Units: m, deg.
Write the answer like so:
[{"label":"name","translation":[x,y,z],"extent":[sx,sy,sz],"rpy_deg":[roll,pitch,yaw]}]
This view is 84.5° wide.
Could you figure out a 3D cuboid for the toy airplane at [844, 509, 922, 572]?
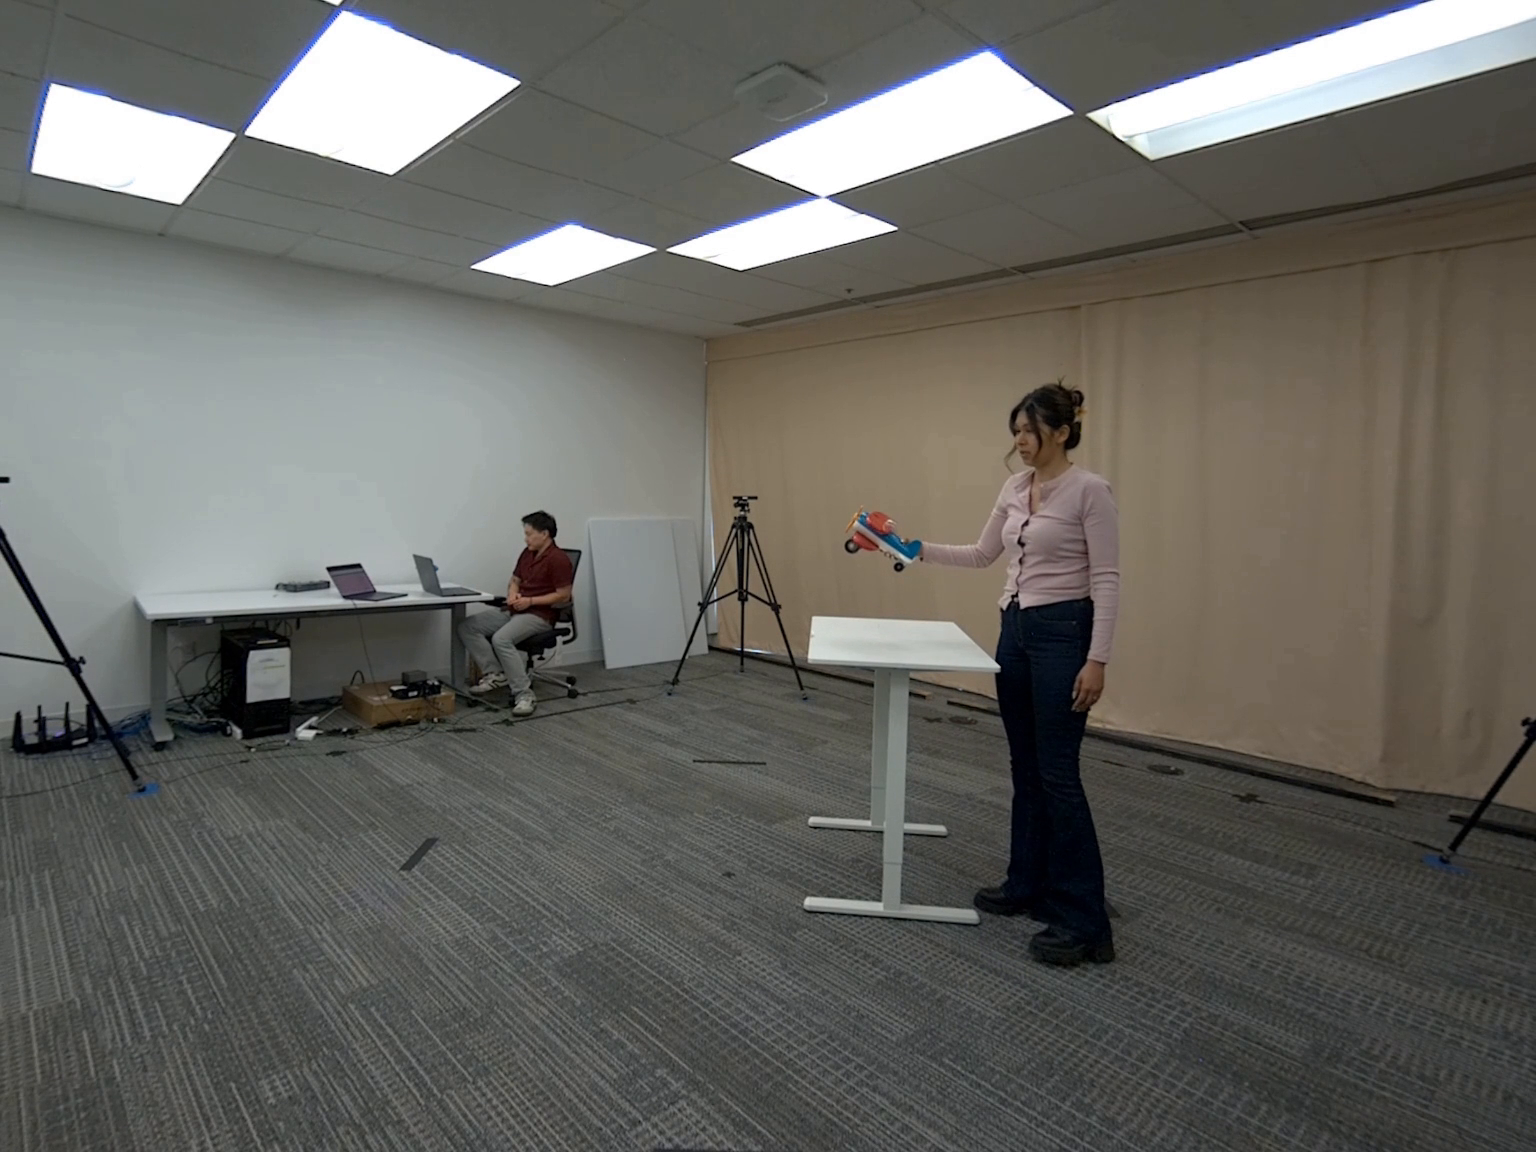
[{"label":"toy airplane","translation":[0.405,-0.127,2.999],"extent":[0.256,0.155,0.256],"rpy_deg":[16,17,-13]}]
